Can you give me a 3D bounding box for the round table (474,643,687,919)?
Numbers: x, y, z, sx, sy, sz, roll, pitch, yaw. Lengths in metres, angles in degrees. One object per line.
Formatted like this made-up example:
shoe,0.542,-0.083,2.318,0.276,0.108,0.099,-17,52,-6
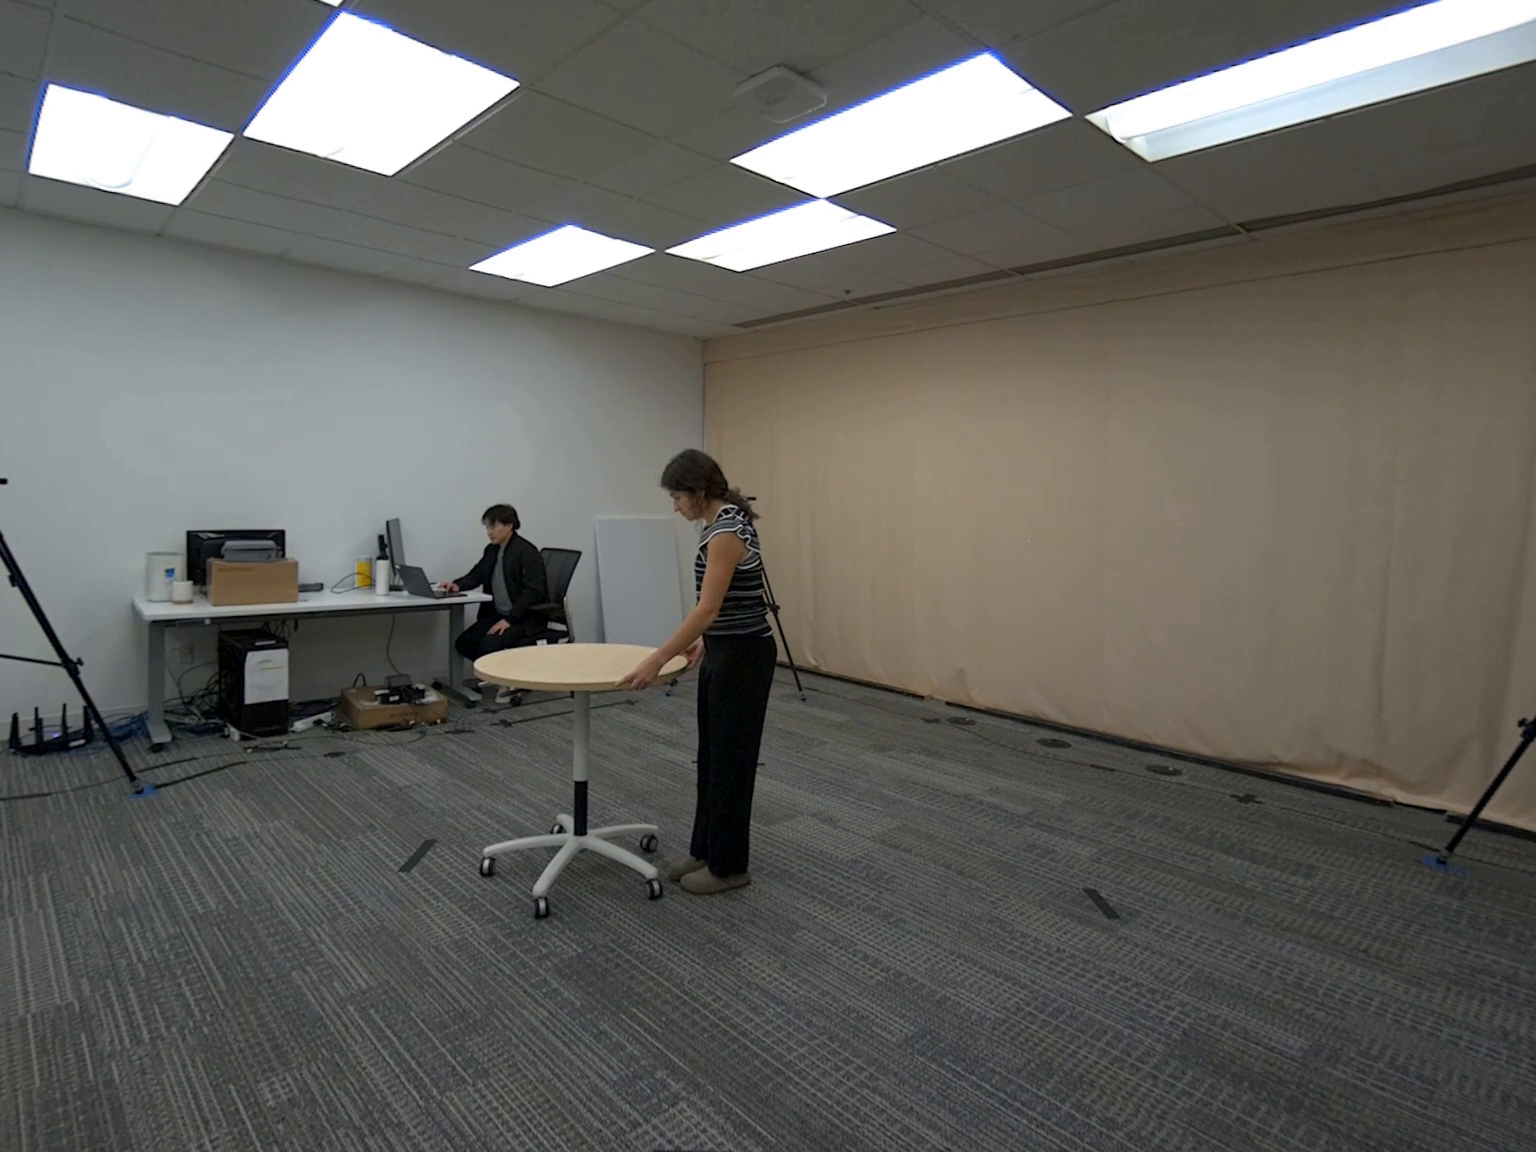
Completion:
round table,-0.675,0.696,3.096,0.784,0.784,0.788,1,4,-1
